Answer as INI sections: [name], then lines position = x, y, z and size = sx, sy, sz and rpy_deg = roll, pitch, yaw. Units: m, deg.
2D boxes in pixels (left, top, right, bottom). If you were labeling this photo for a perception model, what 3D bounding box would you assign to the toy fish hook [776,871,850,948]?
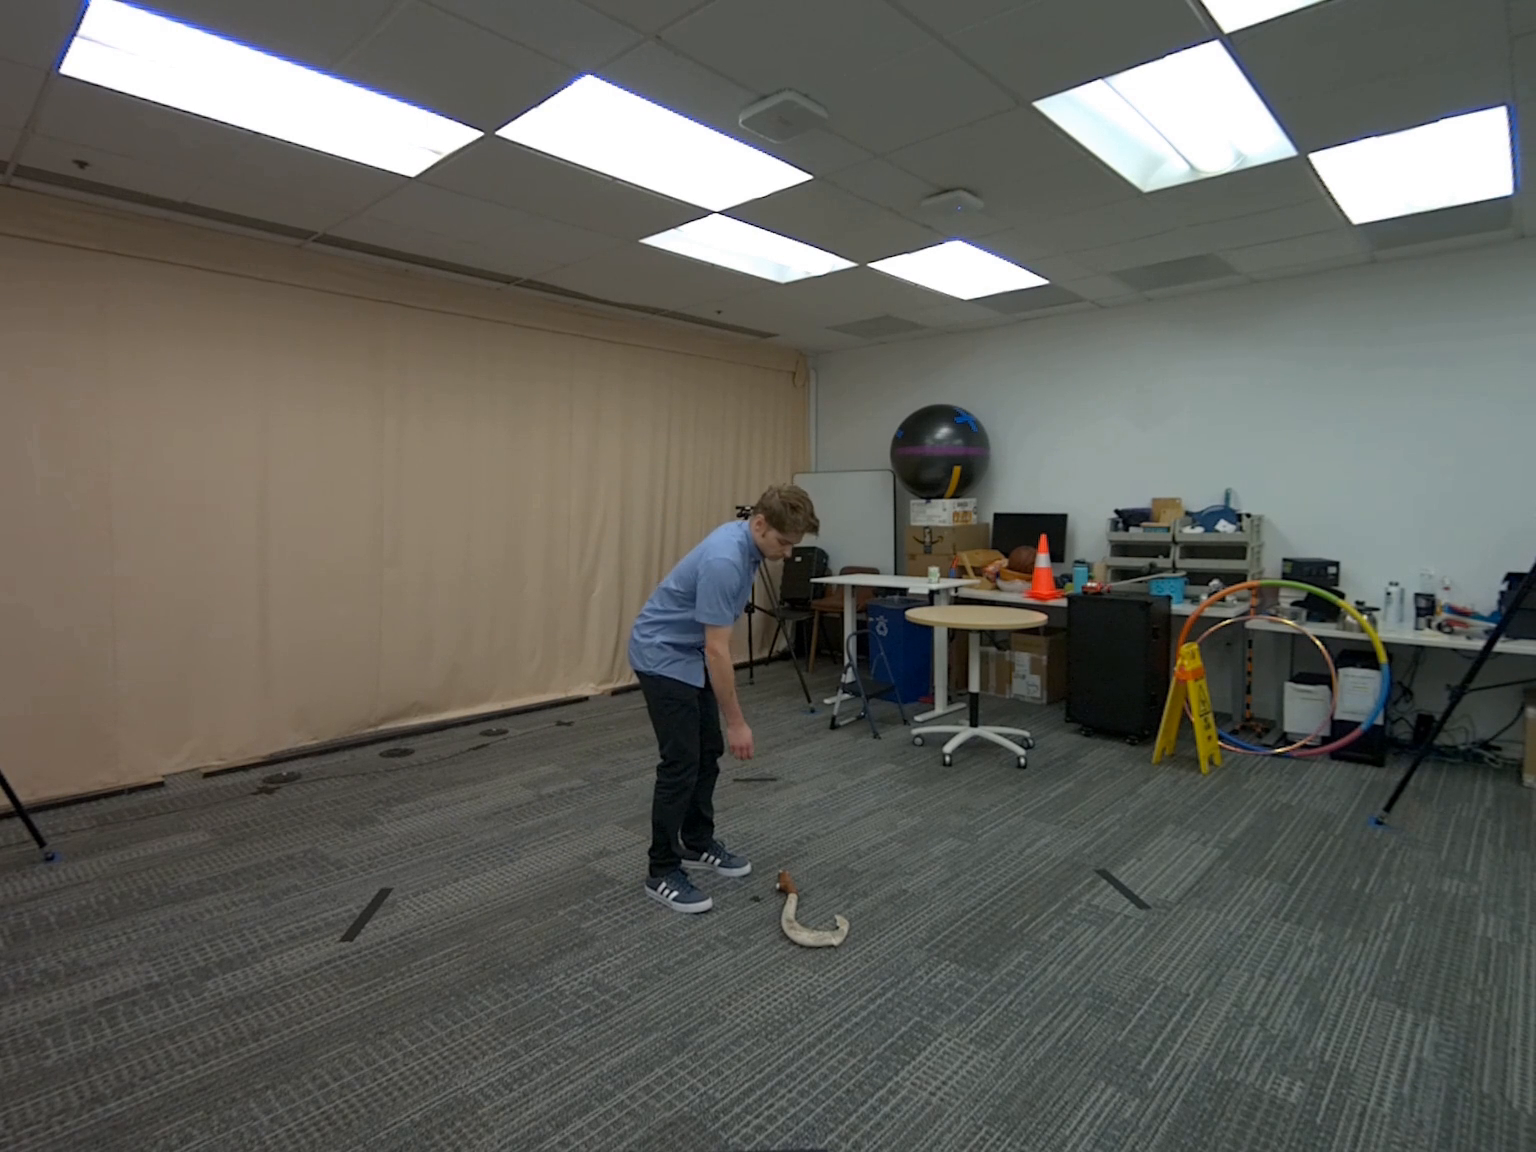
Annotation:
[toy fish hook]
position = 0.142, 1.136, 2.891
size = 0.223, 0.048, 0.511
rpy_deg = 7, 4, -7
